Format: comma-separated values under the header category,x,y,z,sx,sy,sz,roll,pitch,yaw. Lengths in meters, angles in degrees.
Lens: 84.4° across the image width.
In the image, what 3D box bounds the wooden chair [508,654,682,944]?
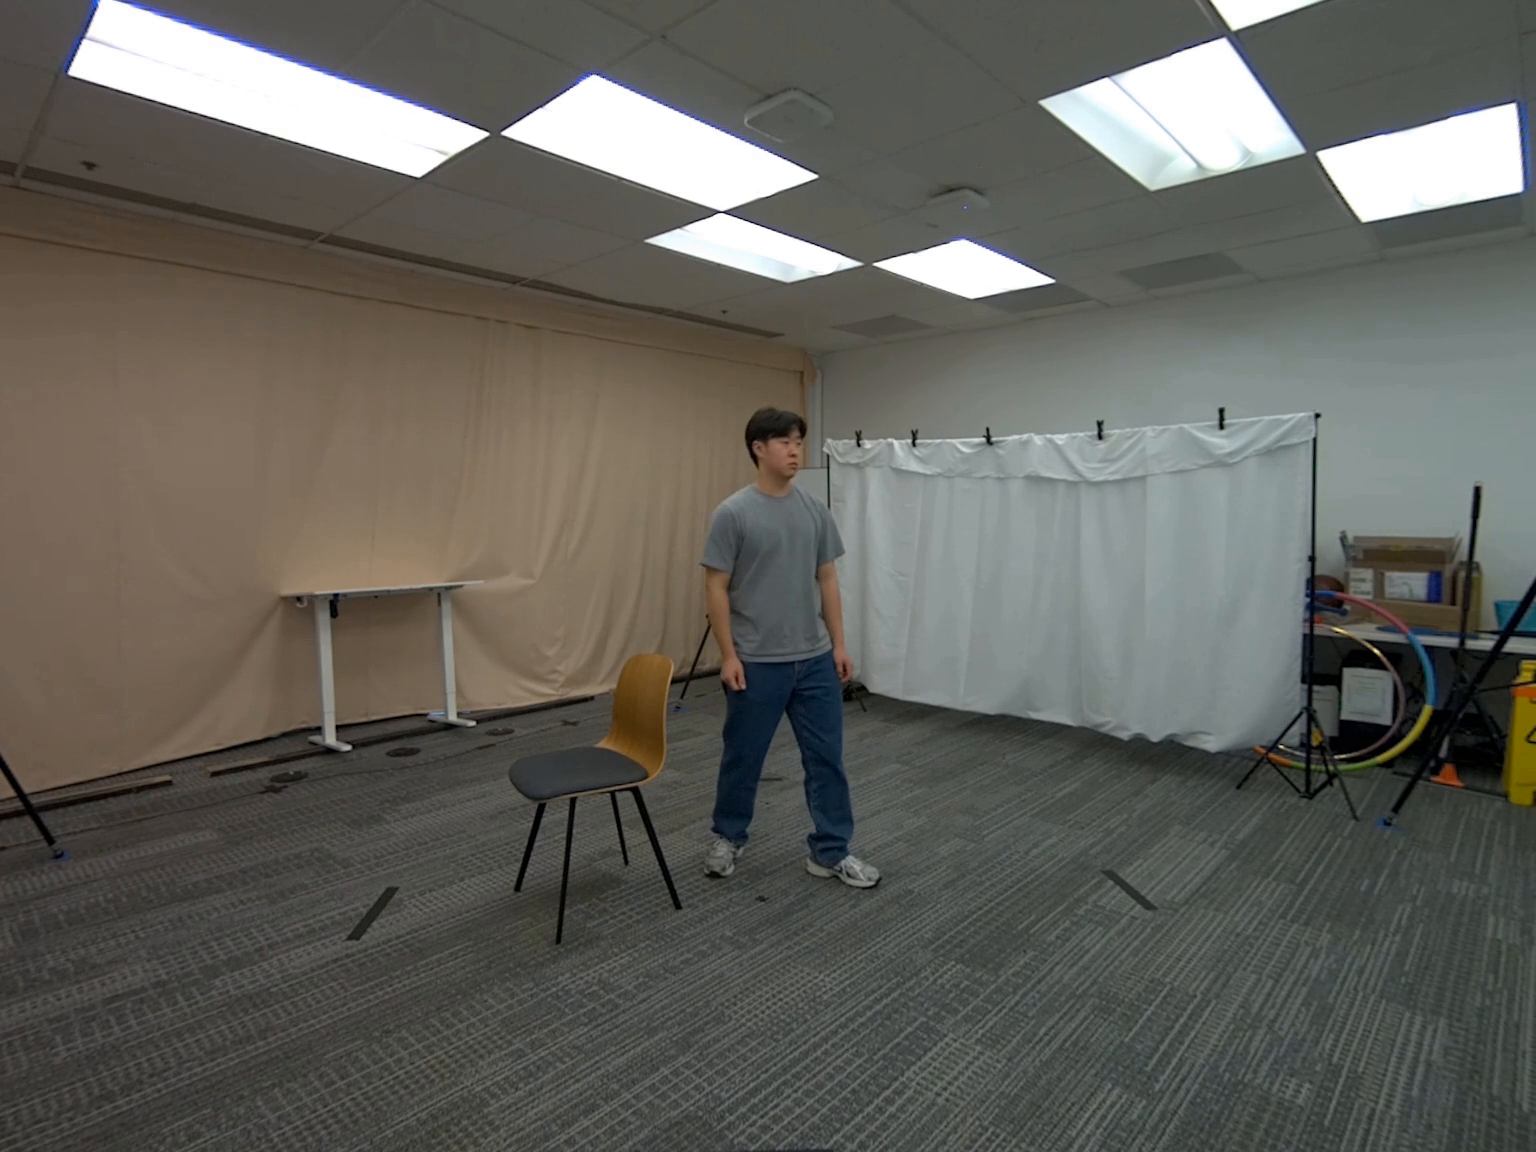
category,x,y,z,sx,sy,sz,roll,pitch,yaw
wooden chair,-0.620,0.725,2.950,0.508,0.877,0.492,3,1,-33
